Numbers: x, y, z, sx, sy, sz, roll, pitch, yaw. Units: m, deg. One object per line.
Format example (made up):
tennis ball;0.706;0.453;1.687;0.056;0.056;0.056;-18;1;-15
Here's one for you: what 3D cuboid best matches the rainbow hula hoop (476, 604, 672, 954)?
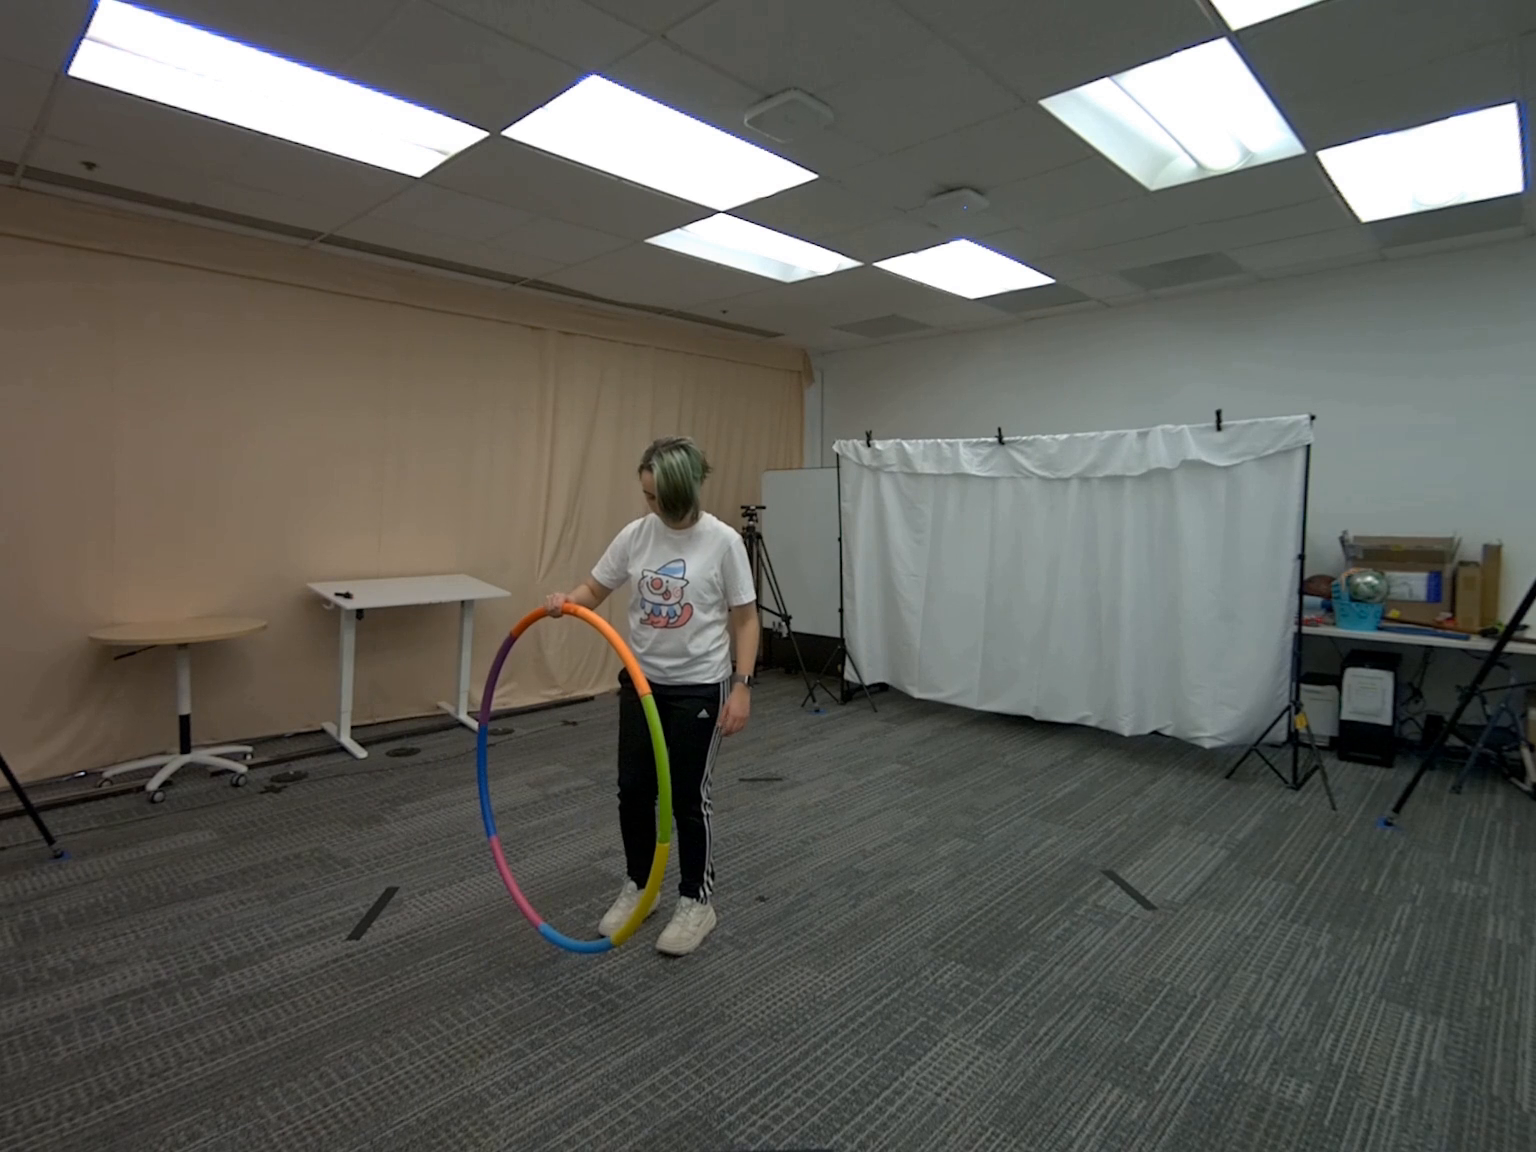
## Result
rainbow hula hoop;-0.599;0.581;2.479;1.011;0.979;0.034;4;0;45
